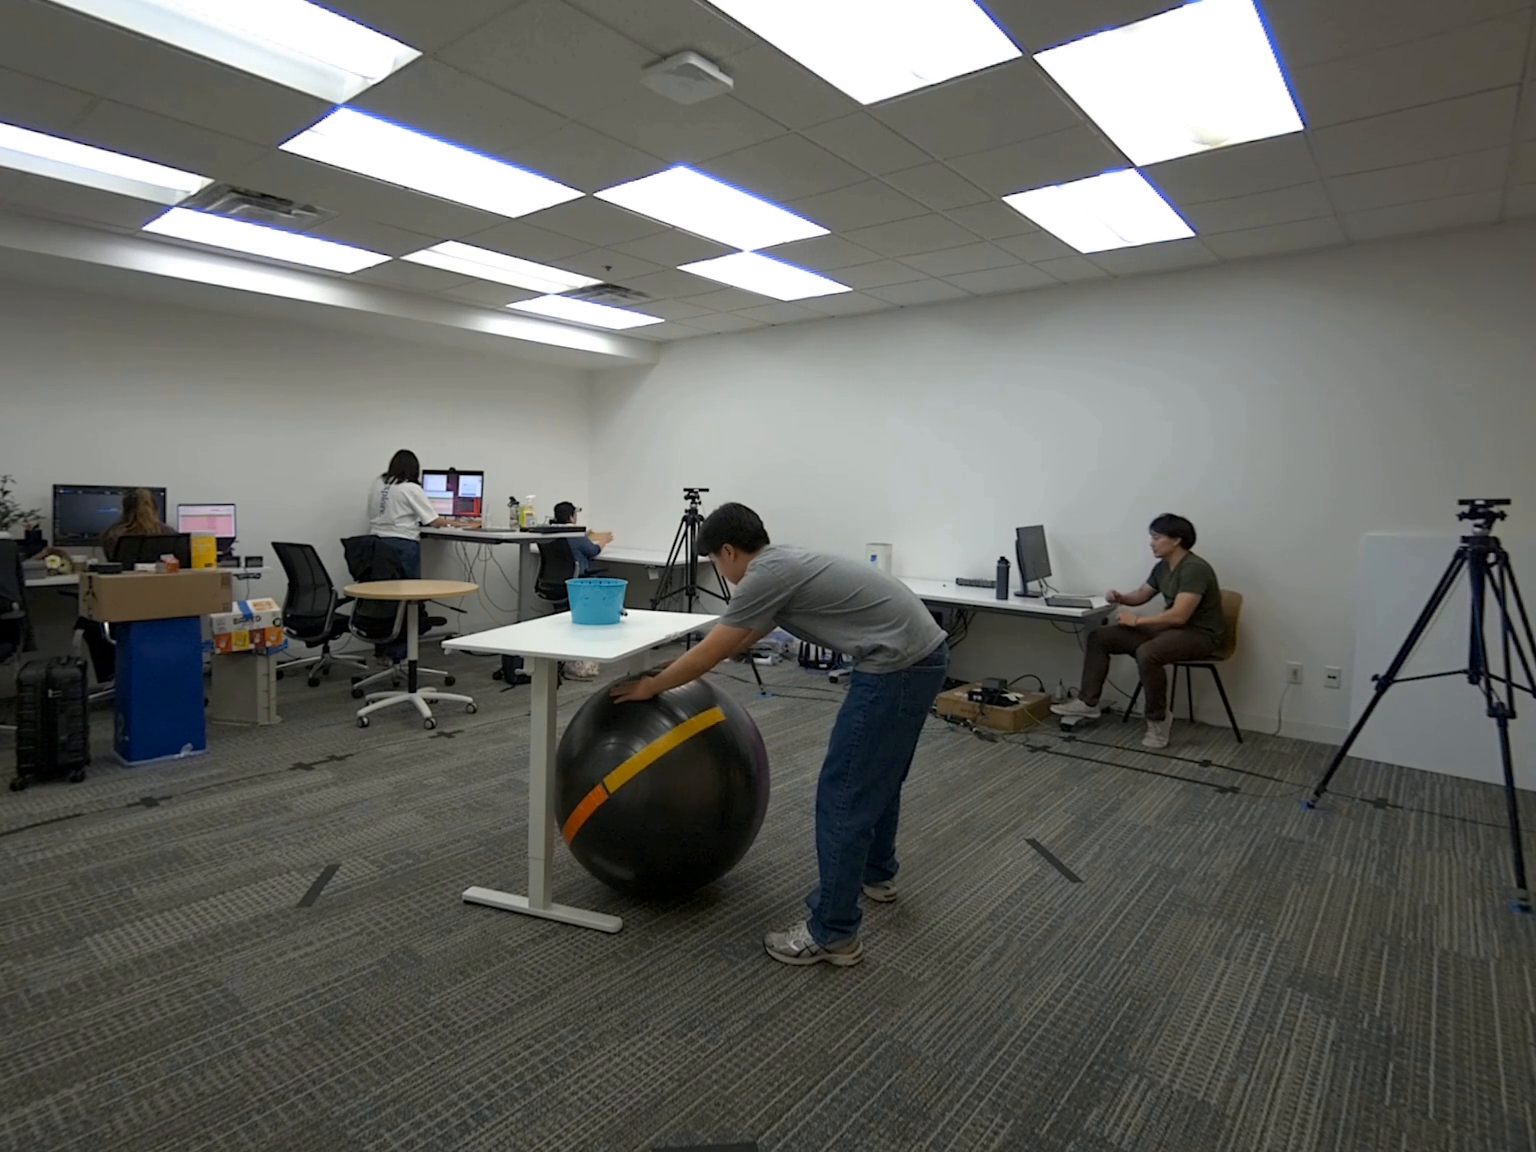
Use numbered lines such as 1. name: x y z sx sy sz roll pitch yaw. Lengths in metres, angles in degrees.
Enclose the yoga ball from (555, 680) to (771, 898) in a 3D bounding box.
1. yoga ball: -0.383 0.714 2.957 0.757 0.755 0.762 1 4 -2
